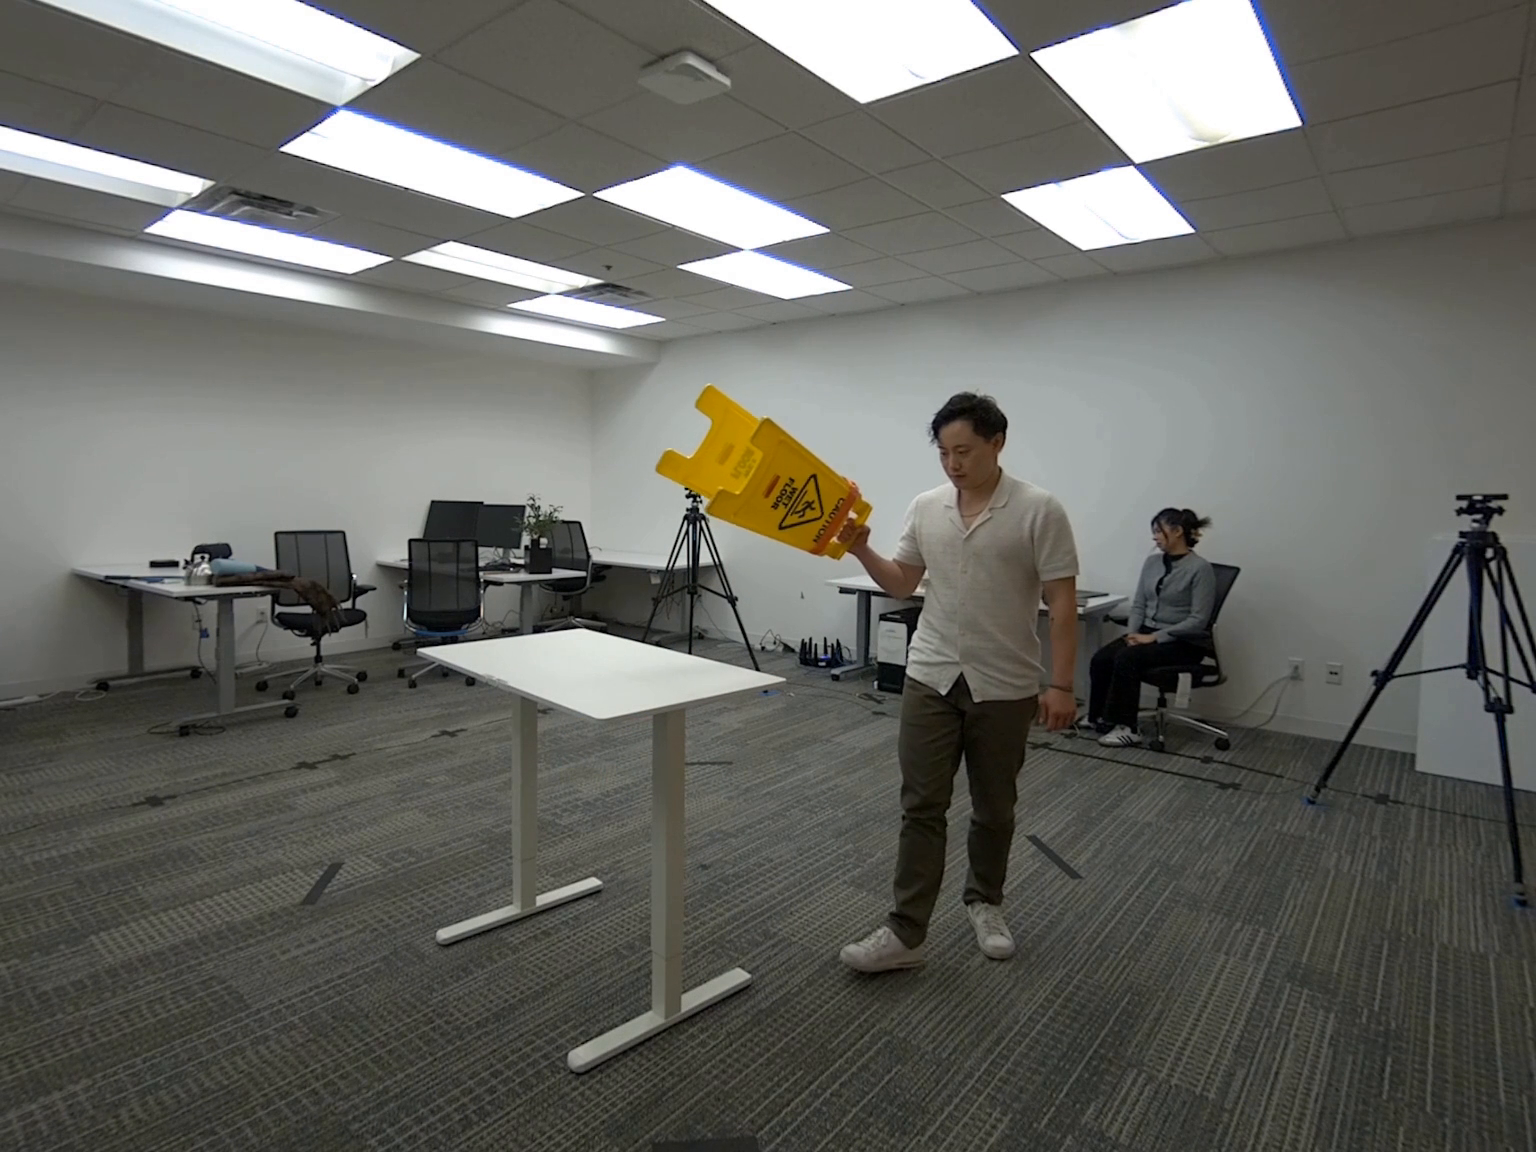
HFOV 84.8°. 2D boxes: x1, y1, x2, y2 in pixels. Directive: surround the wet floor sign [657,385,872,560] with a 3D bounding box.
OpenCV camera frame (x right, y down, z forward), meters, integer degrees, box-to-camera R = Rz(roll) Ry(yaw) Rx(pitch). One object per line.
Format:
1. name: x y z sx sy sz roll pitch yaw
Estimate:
1. wet floor sign: 0.036 -0.237 2.378 0.620 0.282 0.302 26 10 -41
